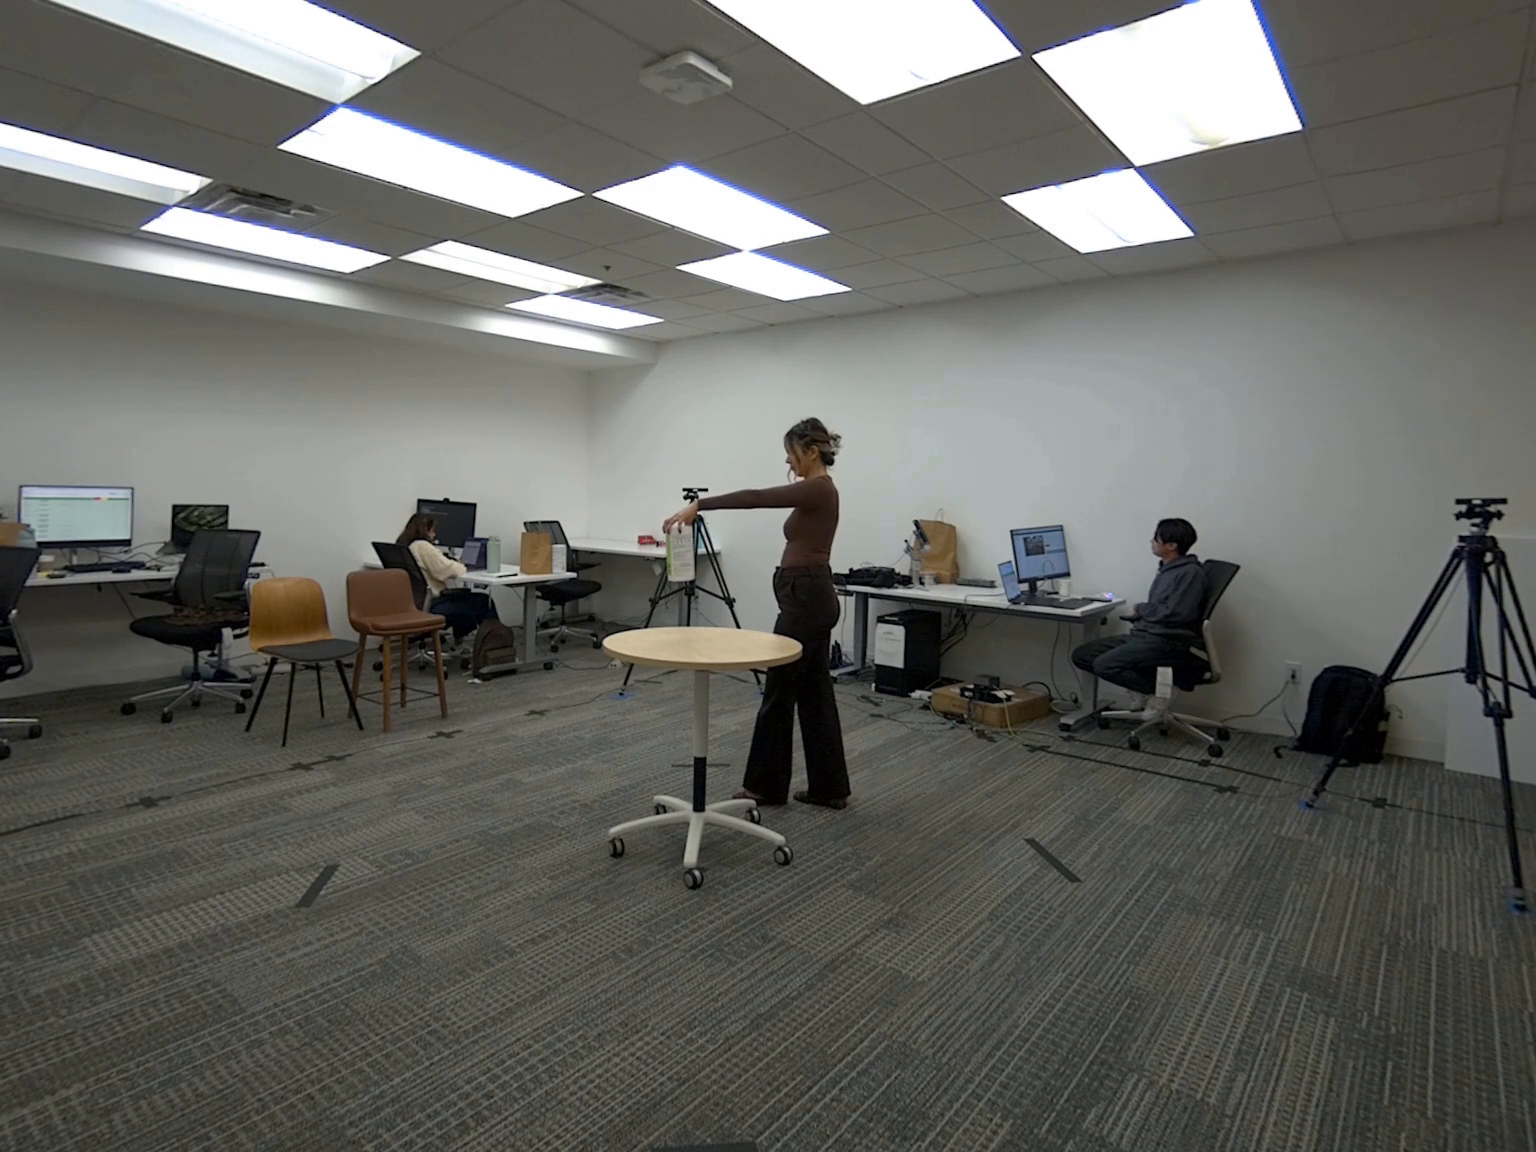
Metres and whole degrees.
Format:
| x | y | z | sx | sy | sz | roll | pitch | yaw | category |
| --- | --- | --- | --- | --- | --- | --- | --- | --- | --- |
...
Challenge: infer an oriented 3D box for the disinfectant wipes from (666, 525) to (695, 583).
| x | y | z | sx | sy | sz | roll | pitch | yaw | category |
| --- | --- | --- | --- | --- | --- | --- | --- | --- | --- |
| -0.361 | -0.094 | 3.395 | 0.118 | 0.216 | 0.118 | -1 | 5 | -2 | disinfectant wipes |
